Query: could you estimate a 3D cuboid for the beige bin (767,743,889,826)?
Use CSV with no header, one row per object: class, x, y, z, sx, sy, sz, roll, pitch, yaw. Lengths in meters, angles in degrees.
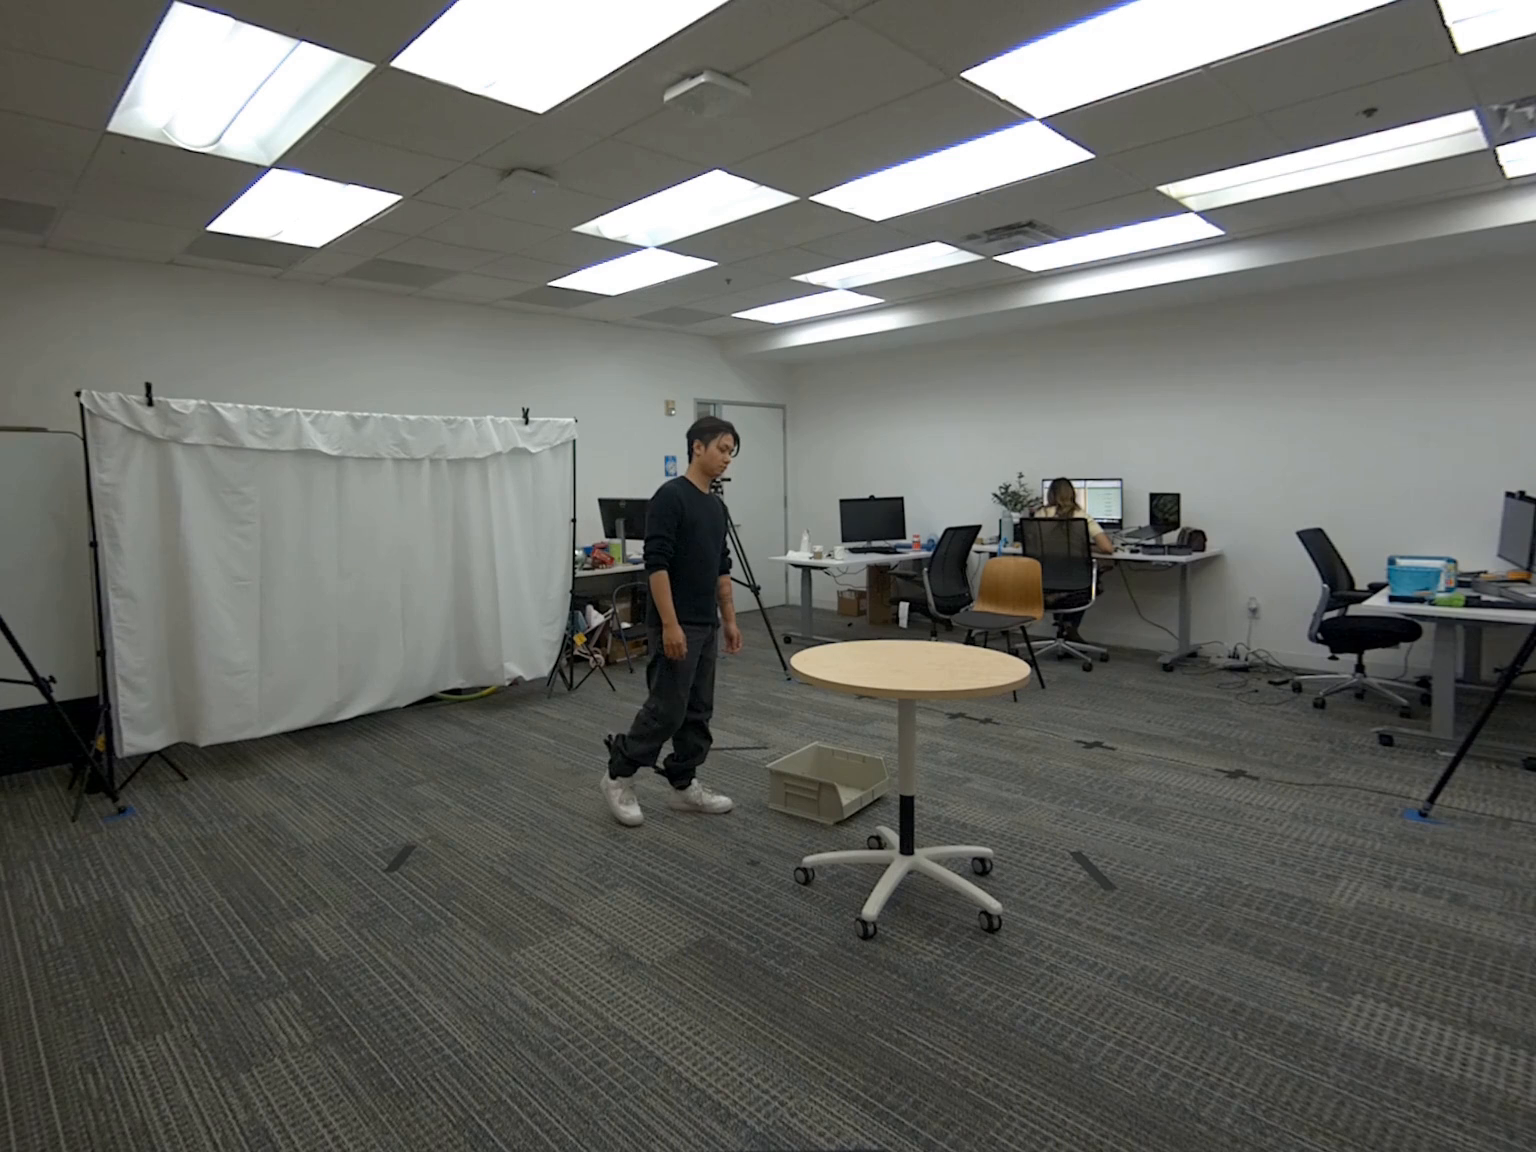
beige bin,0.259,0.882,3.665,0.388,0.188,0.412,3,7,36
